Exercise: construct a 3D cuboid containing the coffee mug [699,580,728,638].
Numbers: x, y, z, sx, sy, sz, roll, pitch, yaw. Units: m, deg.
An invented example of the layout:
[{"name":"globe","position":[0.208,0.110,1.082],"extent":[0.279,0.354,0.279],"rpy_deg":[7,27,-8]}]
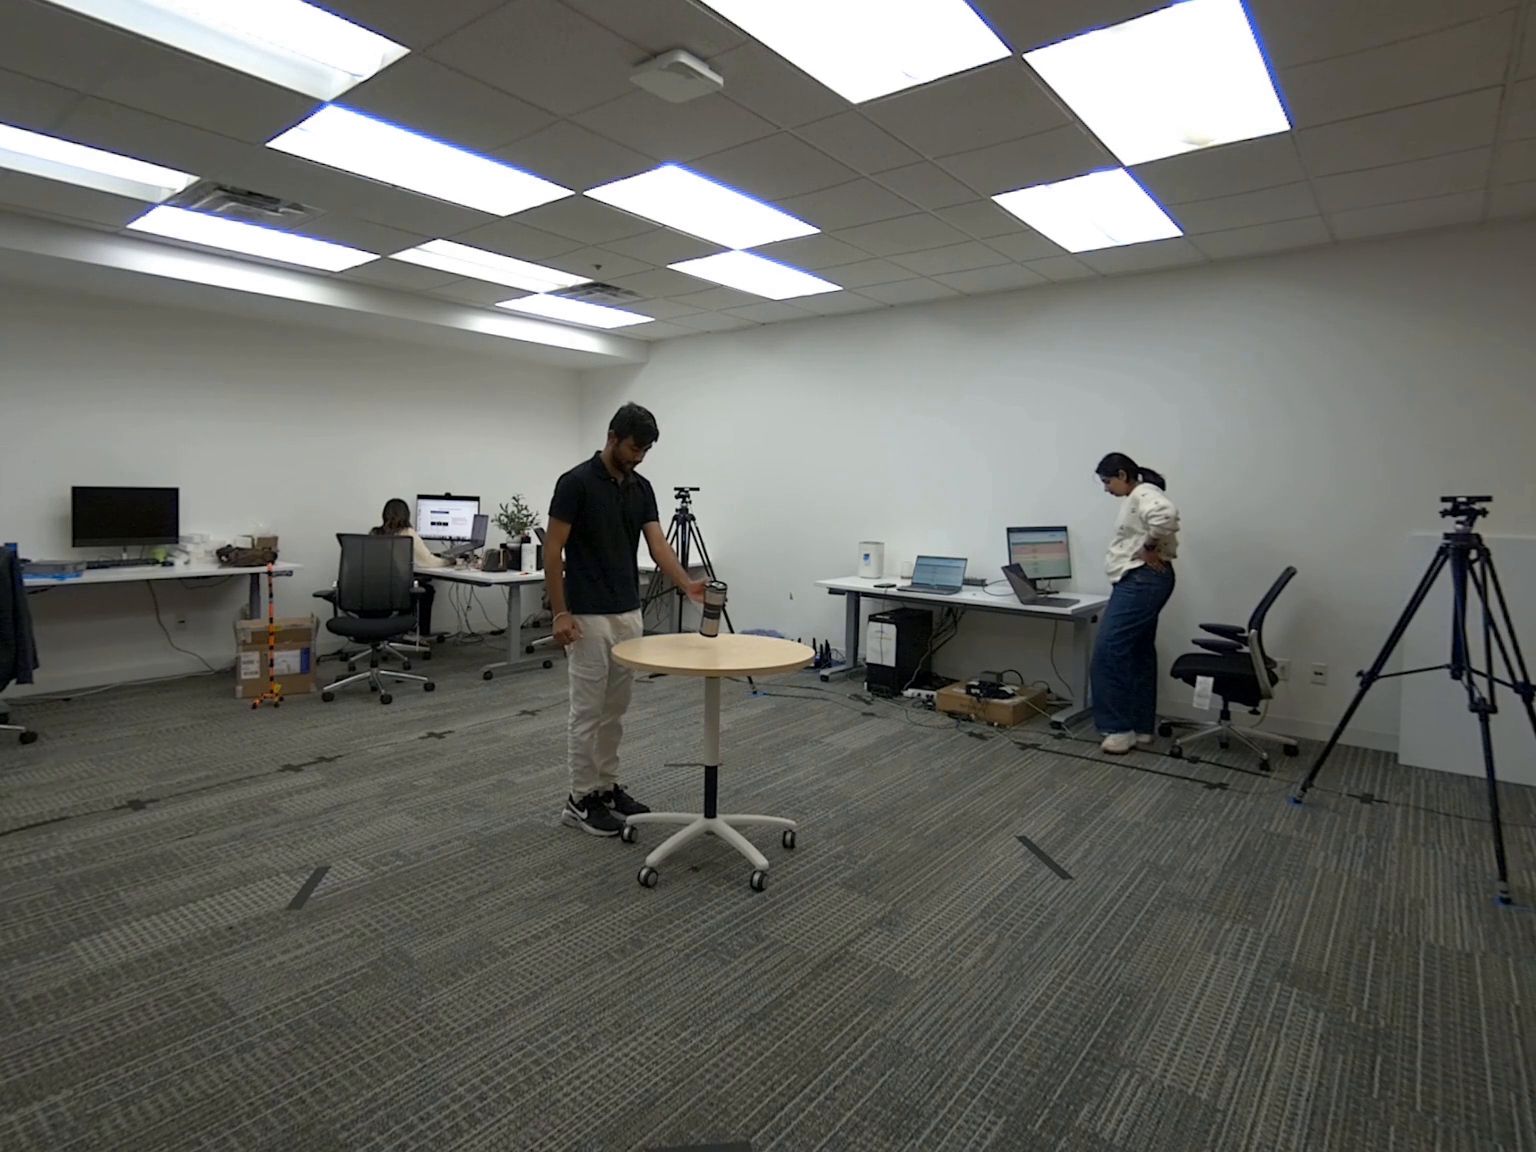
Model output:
[{"name":"coffee mug","position":[-0.211,0.121,3.239],"extent":[0.090,0.200,0.120],"rpy_deg":[12,15,22]}]
